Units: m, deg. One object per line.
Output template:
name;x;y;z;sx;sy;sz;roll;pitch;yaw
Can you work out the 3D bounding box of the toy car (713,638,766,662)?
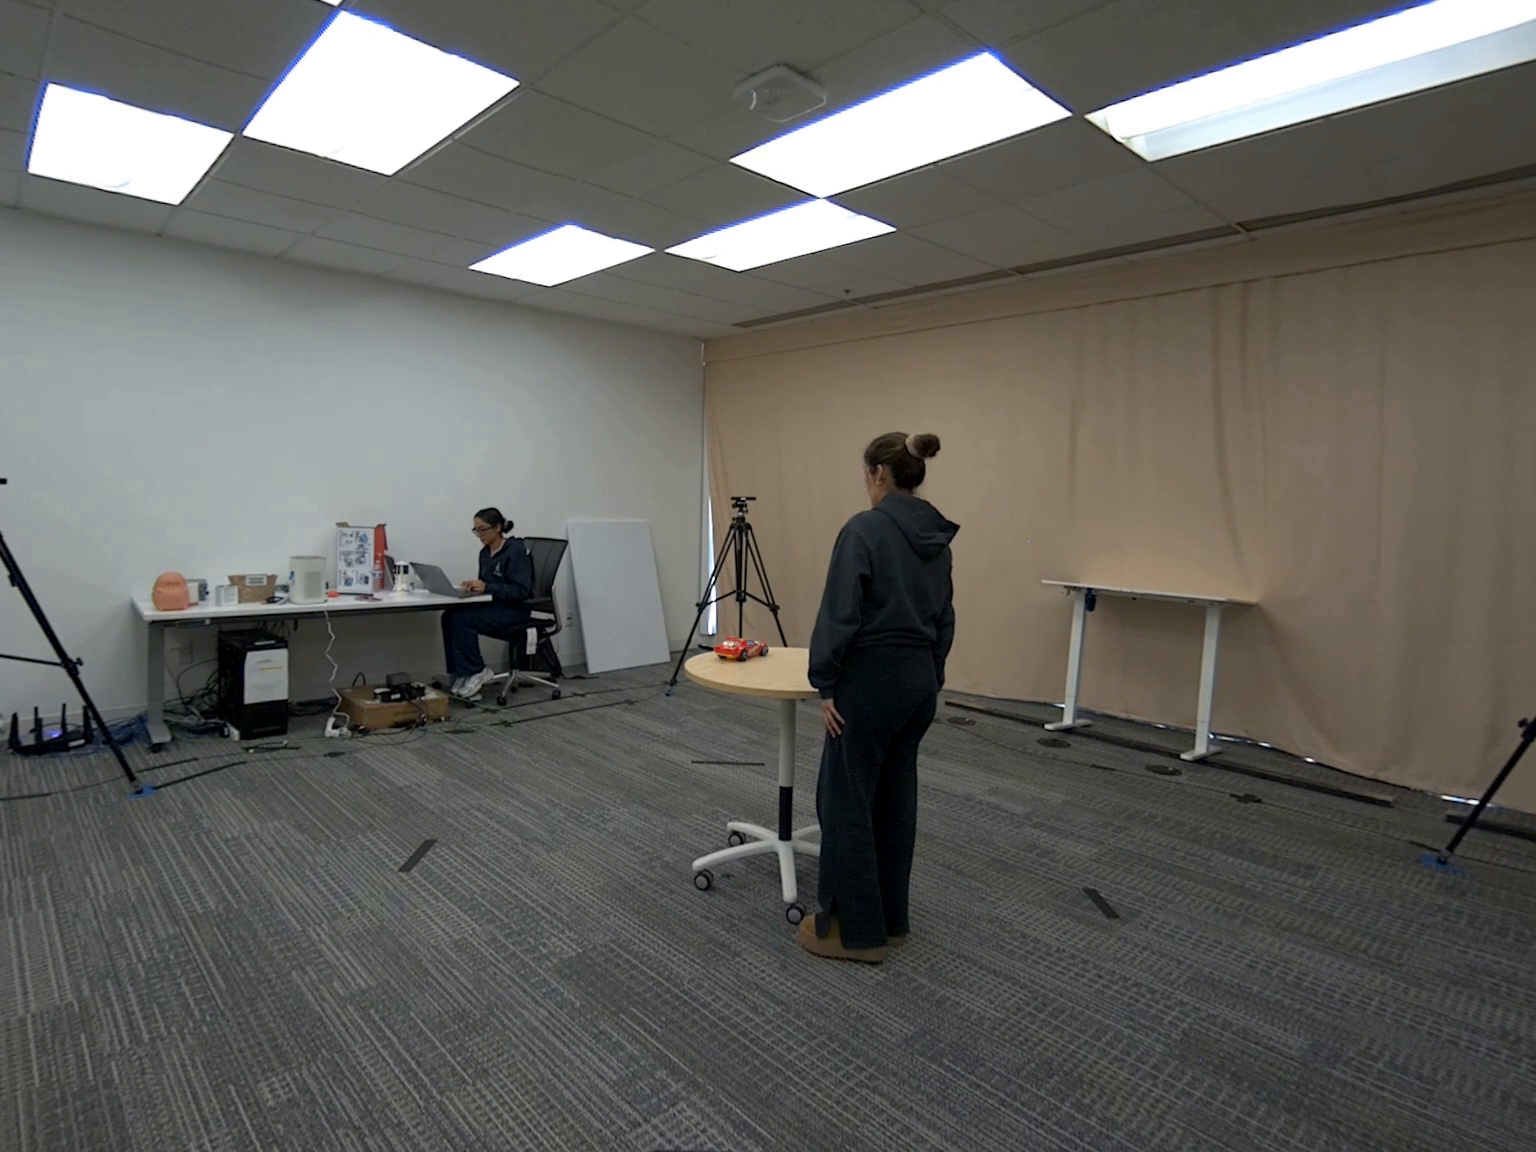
toy car;-0.116;0.283;3.218;0.133;0.083;0.248;5;-5;32
